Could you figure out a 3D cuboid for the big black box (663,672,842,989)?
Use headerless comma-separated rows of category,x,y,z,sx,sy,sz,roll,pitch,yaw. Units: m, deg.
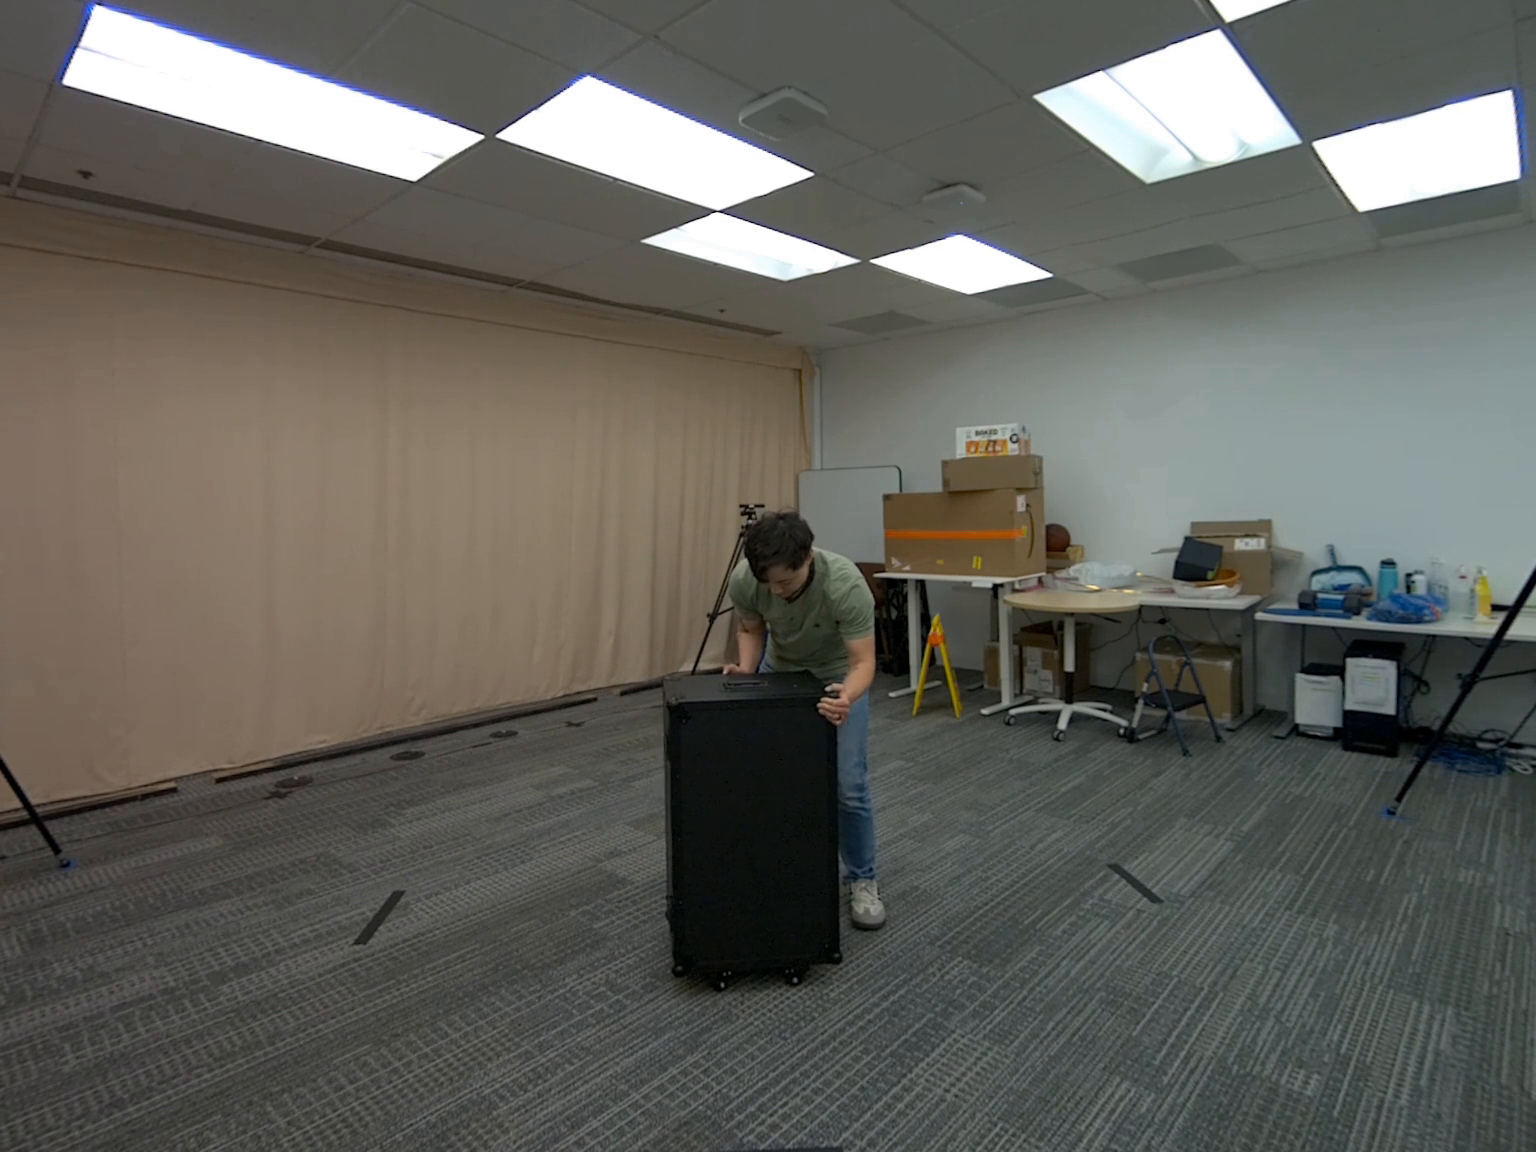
big black box,-0.065,0.698,2.551,0.518,0.859,0.400,-2,4,-7
